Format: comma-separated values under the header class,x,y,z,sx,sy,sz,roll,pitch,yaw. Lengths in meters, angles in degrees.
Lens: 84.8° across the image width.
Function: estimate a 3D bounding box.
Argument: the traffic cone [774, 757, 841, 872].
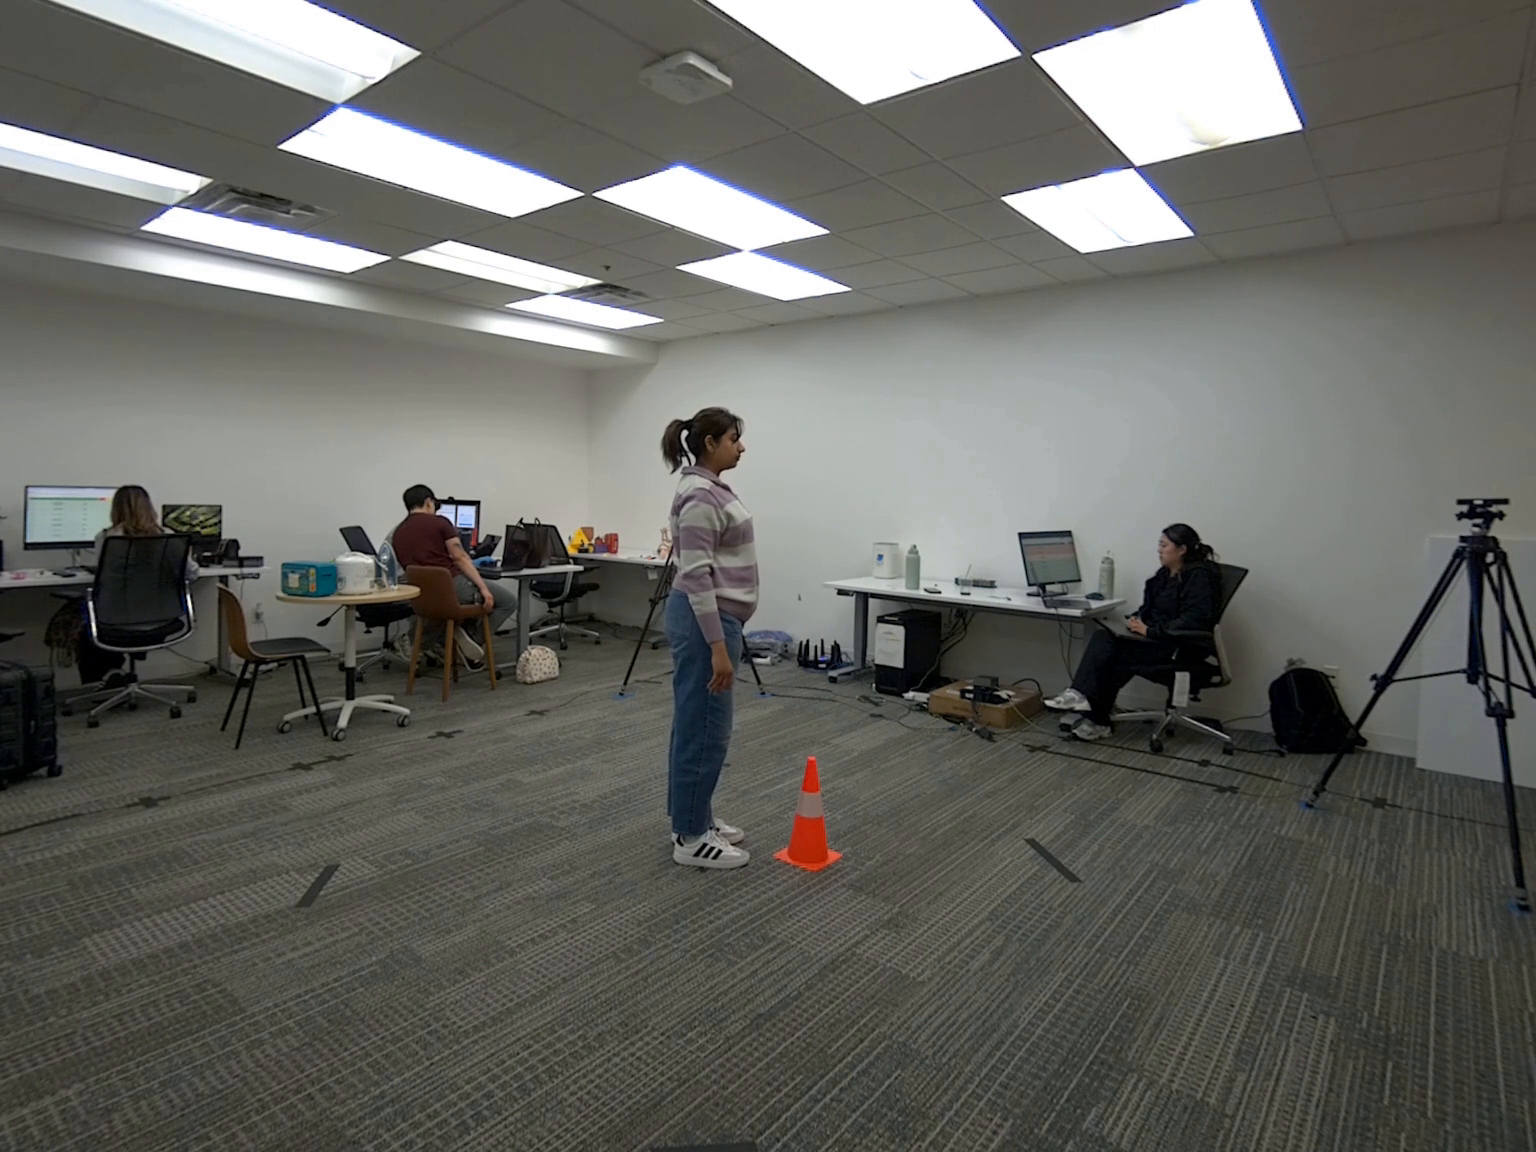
class,x,y,z,sx,sy,sz,roll,pitch,yaw
traffic cone,0.147,0.882,3.235,0.210,0.382,0.199,4,4,35
